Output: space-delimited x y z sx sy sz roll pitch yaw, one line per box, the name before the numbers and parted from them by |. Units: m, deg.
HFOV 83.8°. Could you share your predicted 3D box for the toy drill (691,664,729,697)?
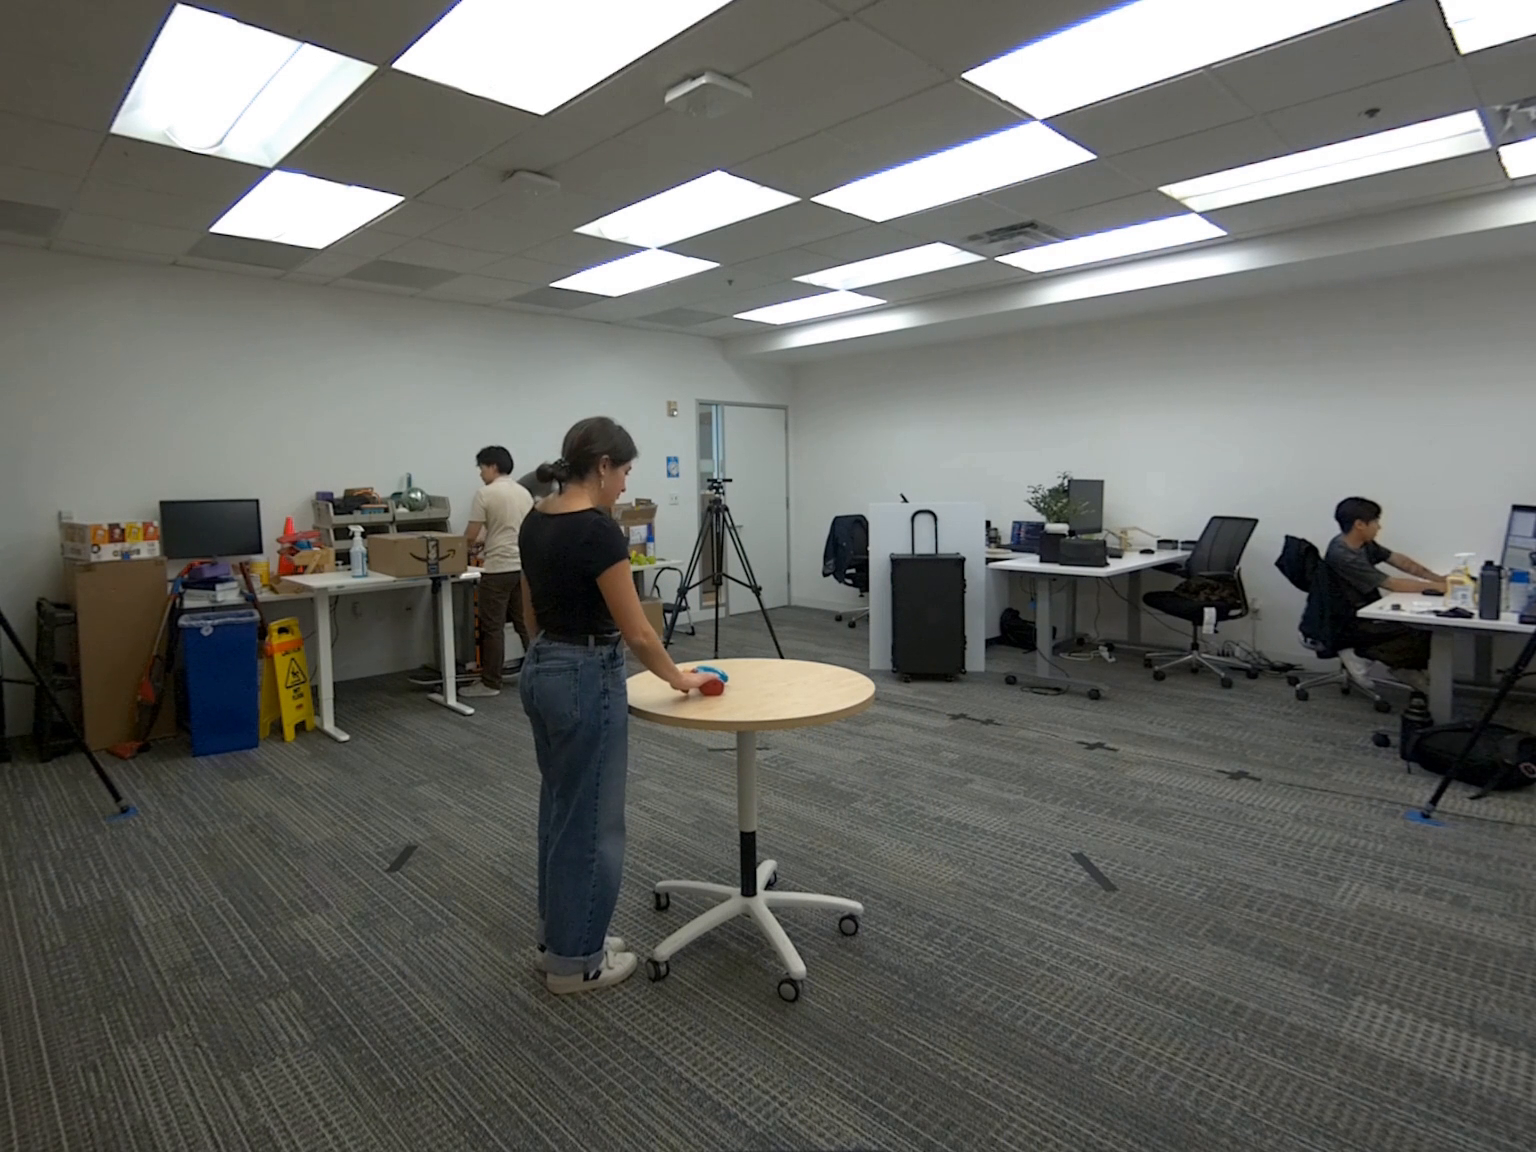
toy drill | -0.195 0.306 2.501 0.170 0.061 0.147 5 8 0
